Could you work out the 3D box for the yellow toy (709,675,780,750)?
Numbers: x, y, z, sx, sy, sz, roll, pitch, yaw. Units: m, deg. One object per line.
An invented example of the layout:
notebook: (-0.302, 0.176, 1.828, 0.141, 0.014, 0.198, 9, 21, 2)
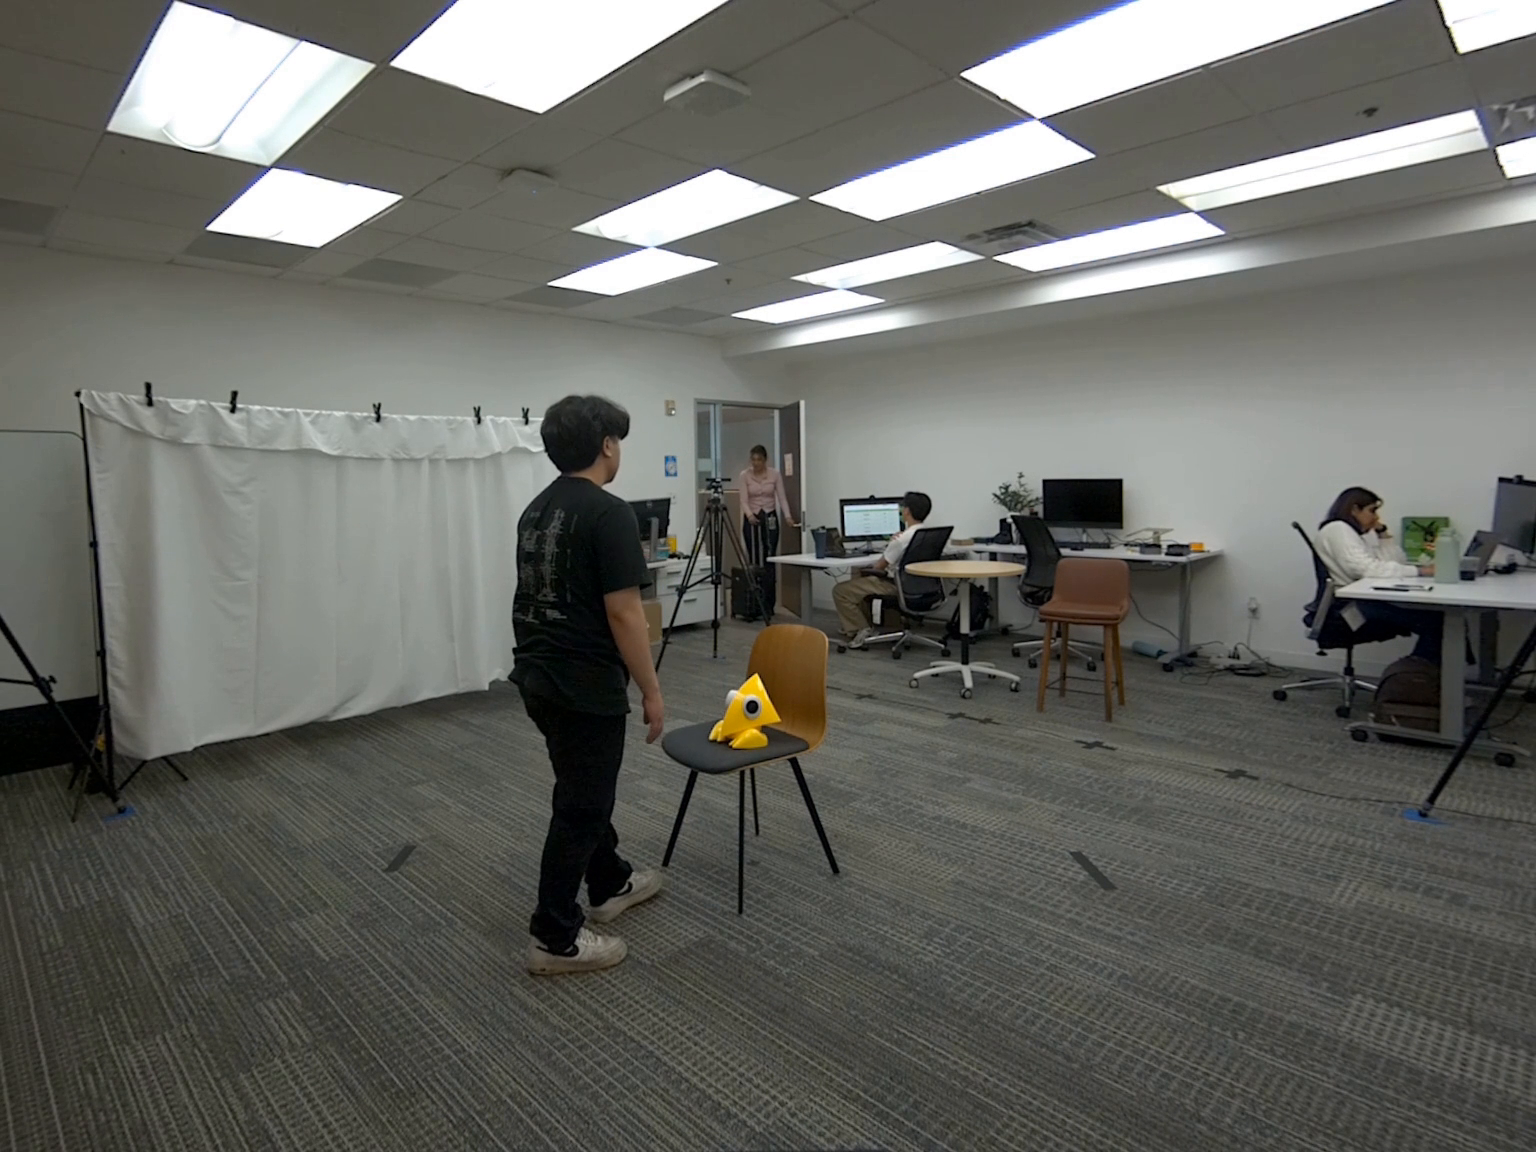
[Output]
yellow toy: (-0.084, 0.465, 2.992, 0.187, 0.230, 0.211, 1, 3, -41)
